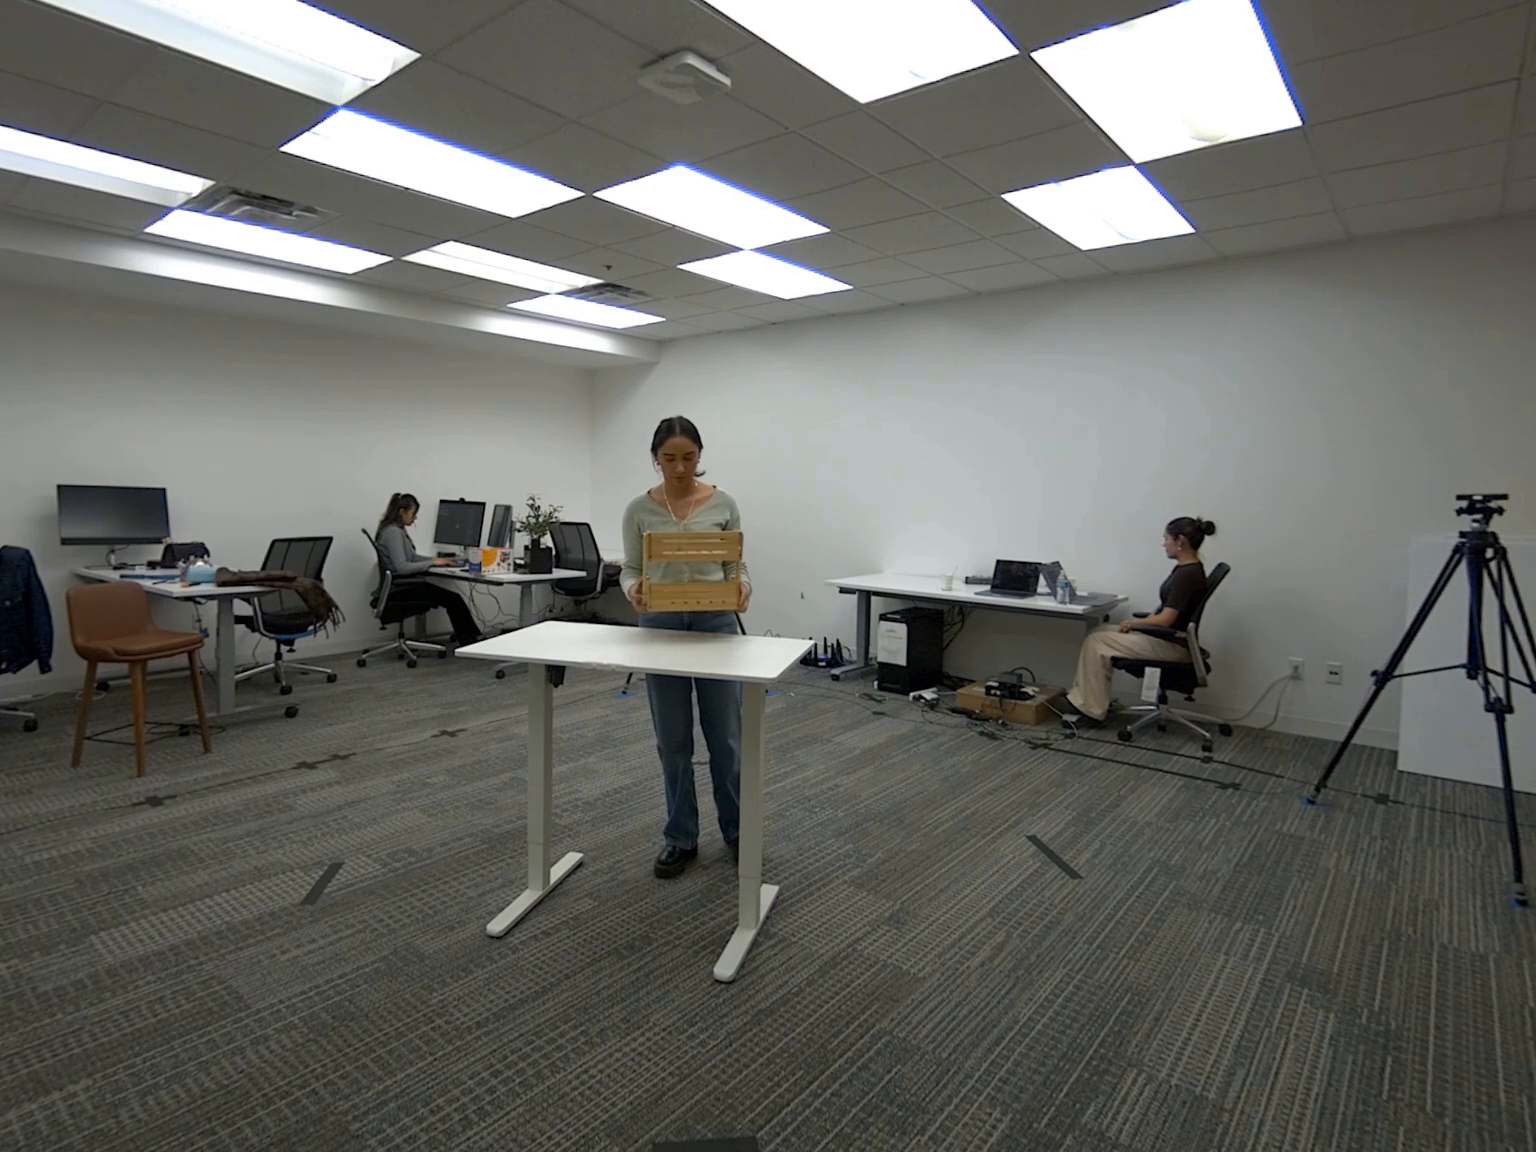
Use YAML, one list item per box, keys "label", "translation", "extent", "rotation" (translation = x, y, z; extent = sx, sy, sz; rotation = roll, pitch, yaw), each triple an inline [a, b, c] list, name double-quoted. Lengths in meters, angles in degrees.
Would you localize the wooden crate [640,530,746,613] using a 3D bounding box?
- label: "wooden crate"
  translation: [-0.281, -0.037, 2.859]
  extent: [0.321, 0.272, 0.307]
  rotation: [-1, 6, -11]
